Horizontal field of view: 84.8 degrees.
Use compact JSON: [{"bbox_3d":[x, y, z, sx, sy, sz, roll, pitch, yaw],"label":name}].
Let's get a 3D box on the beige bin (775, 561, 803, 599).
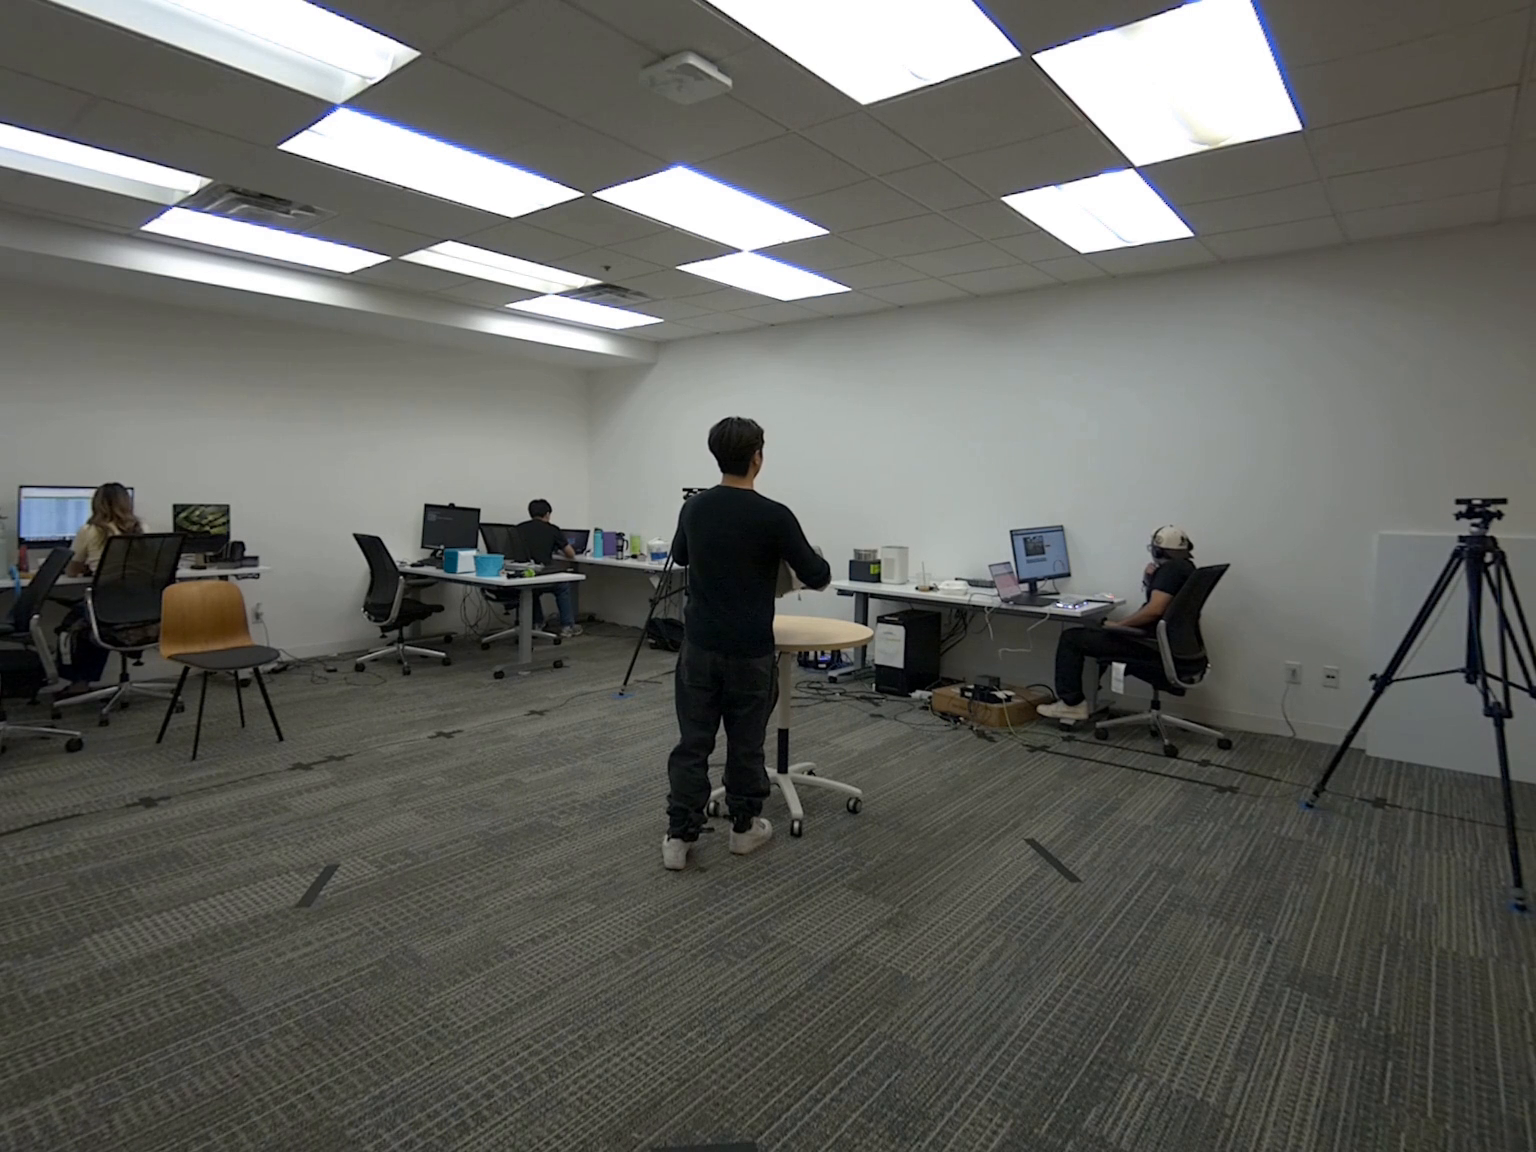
[{"bbox_3d":[-0.007,-0.030,3.573,0.387,0.188,0.413,1,6,25],"label":"beige bin"}]
